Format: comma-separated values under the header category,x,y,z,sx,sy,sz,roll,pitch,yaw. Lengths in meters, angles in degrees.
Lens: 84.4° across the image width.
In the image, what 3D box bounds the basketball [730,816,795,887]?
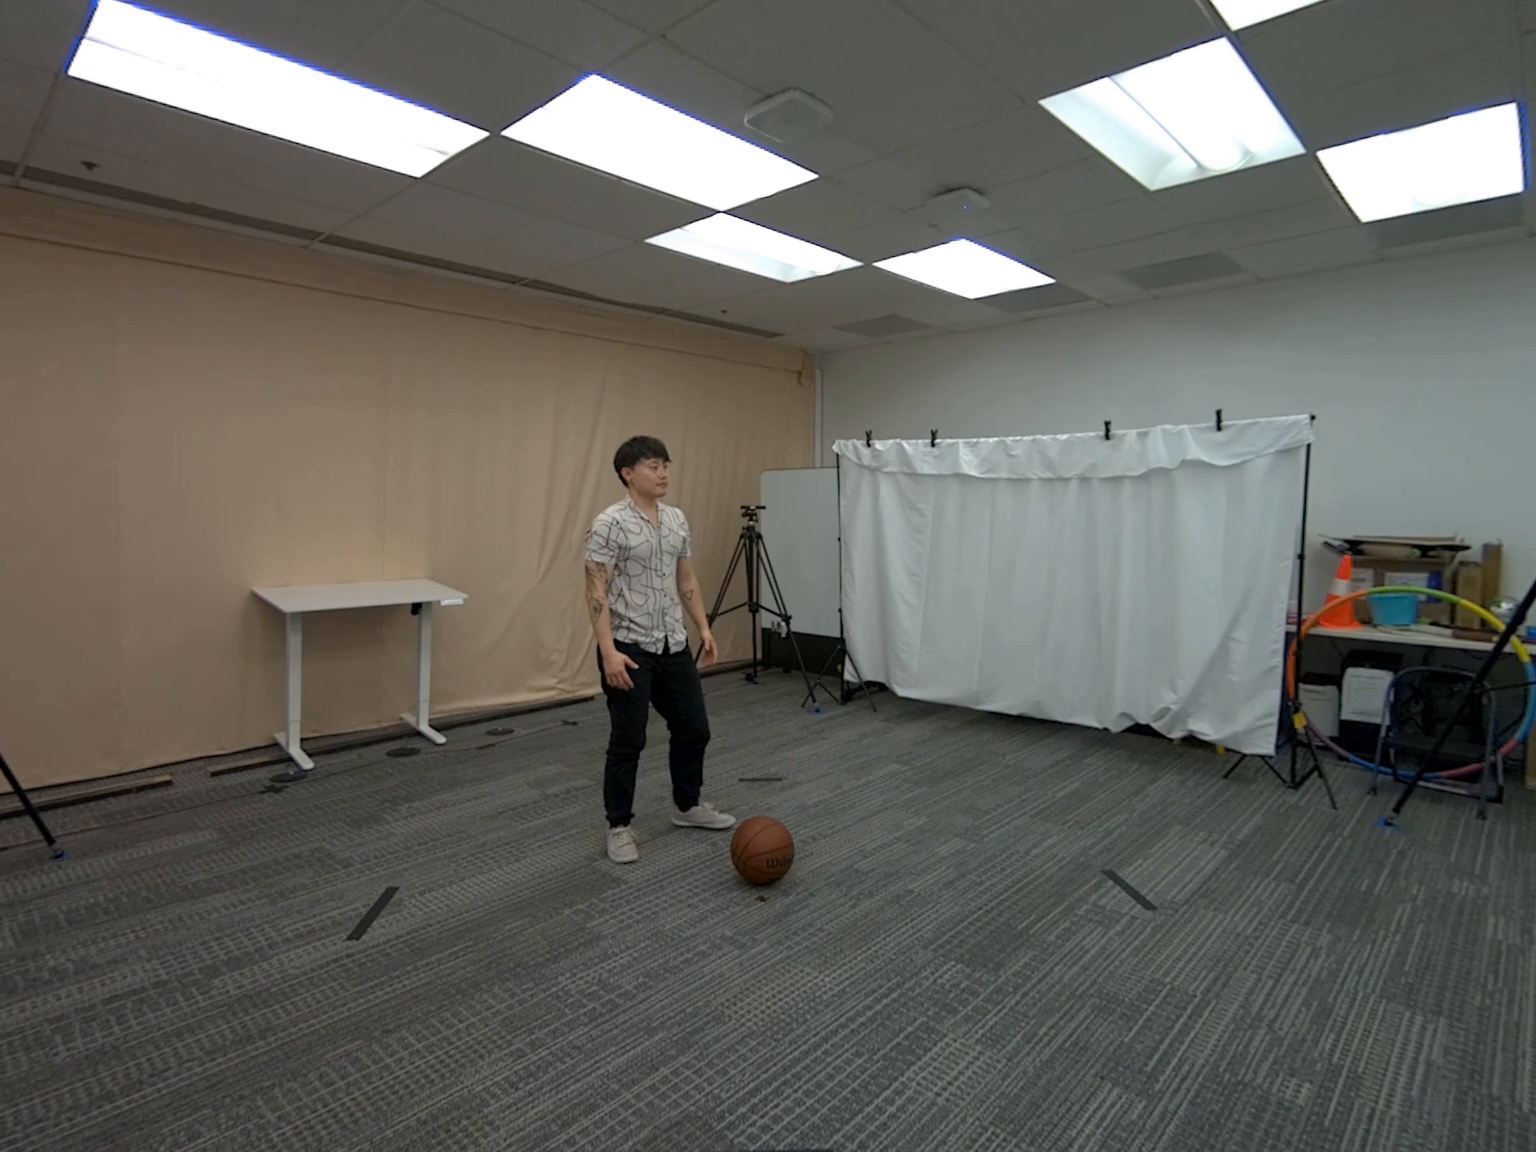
category,x,y,z,sx,sy,sz,roll,pitch,yaw
basketball,-0.021,1.011,3.113,0.236,0.235,0.237,0,4,-2
